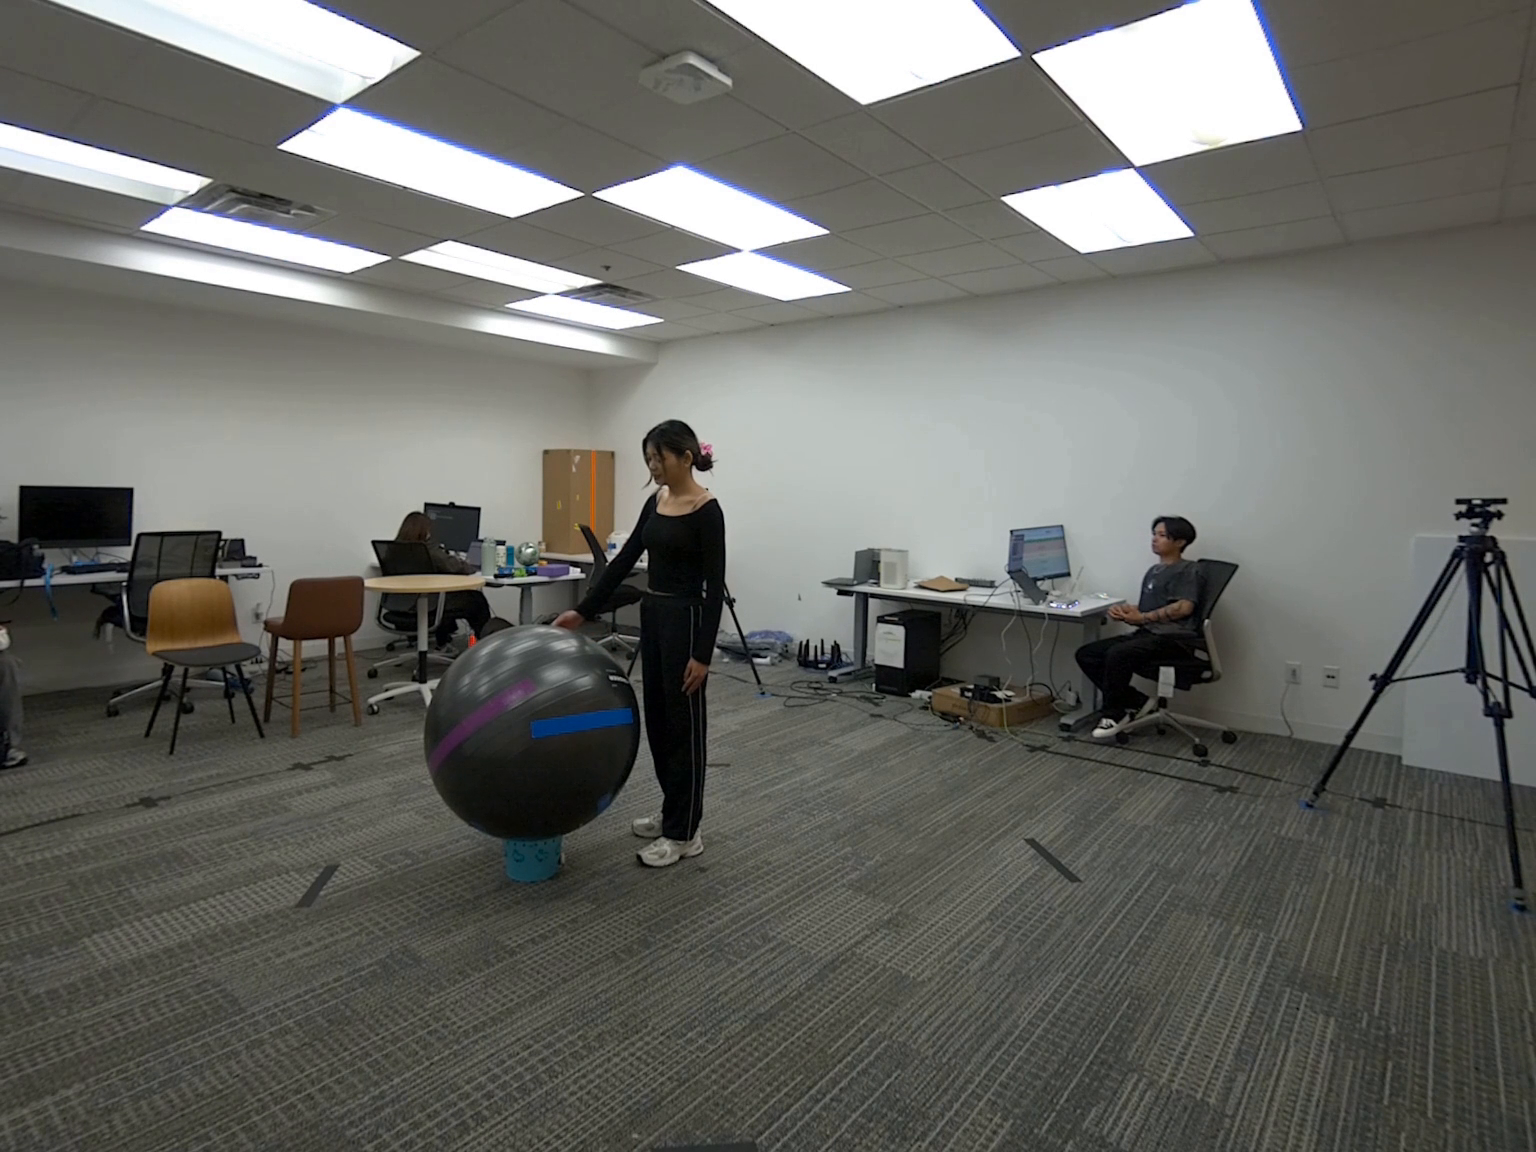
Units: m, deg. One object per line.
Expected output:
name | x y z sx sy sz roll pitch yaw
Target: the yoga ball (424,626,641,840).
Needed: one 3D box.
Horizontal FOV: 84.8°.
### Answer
yoga ball | -0.860 0.555 3.054 0.757 0.756 0.762 1 4 -2
